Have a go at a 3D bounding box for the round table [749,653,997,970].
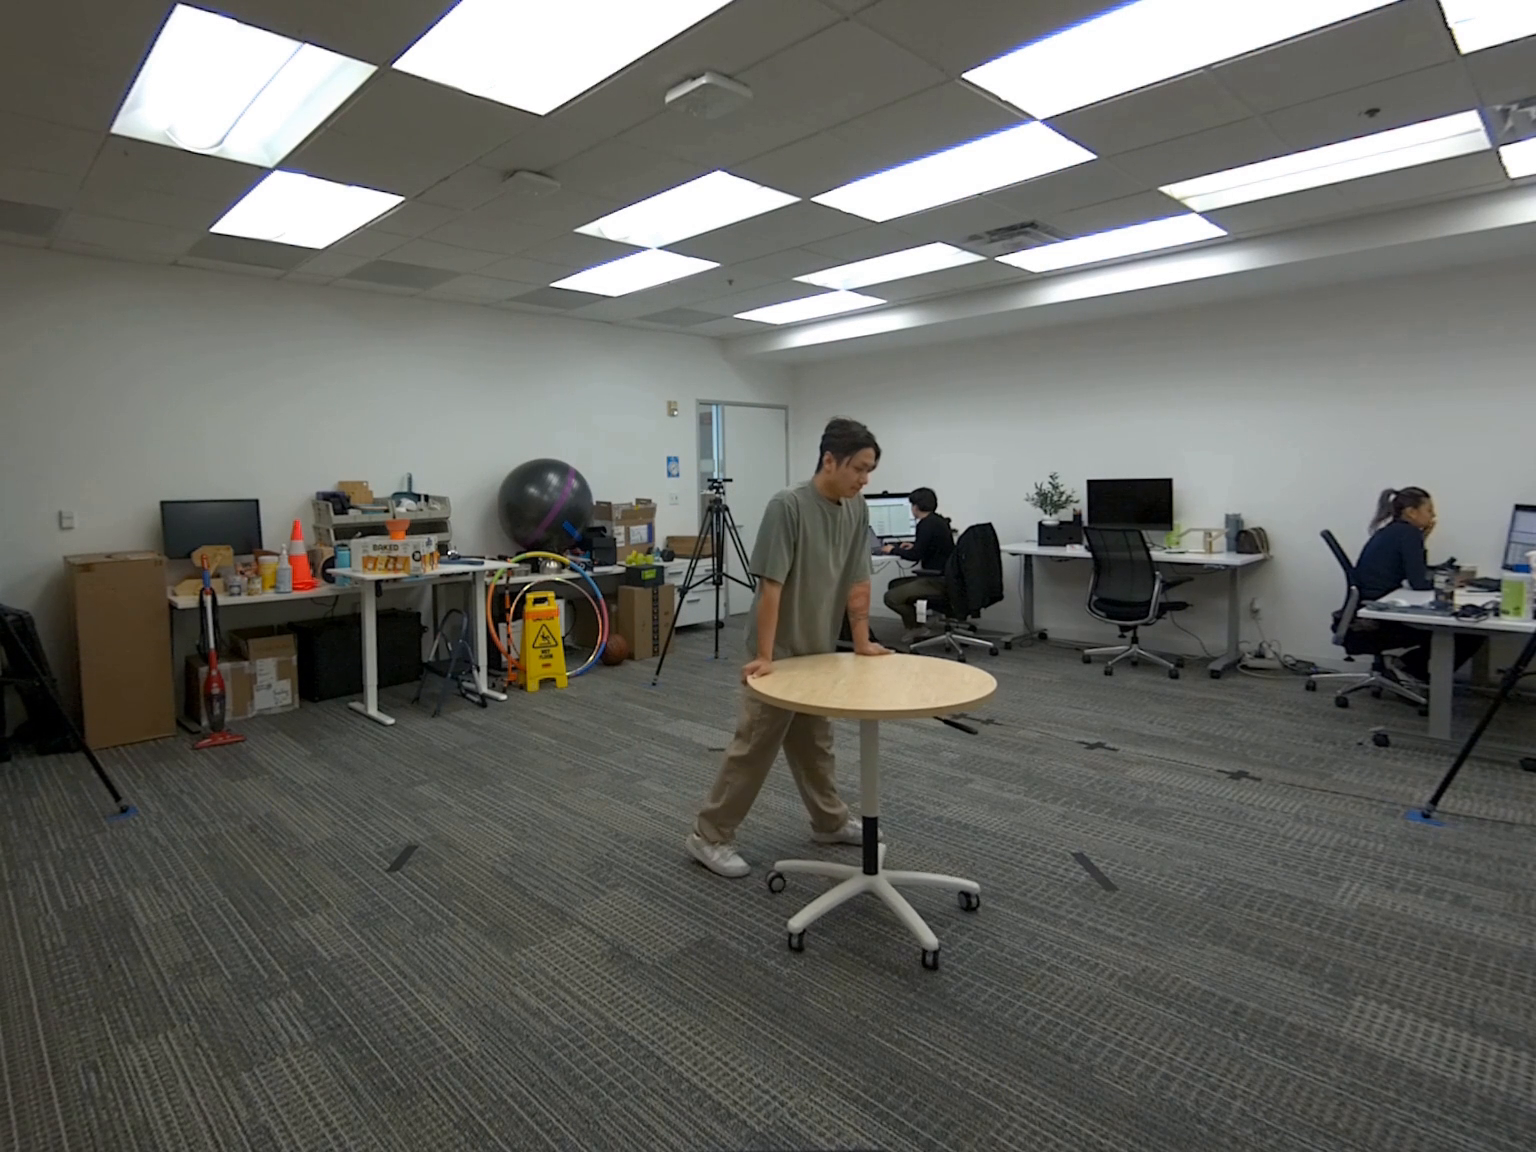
[{"bbox_3d":[0.306,0.698,2.698,0.784,0.783,0.789,-1,5,-2],"label":"round table"}]
